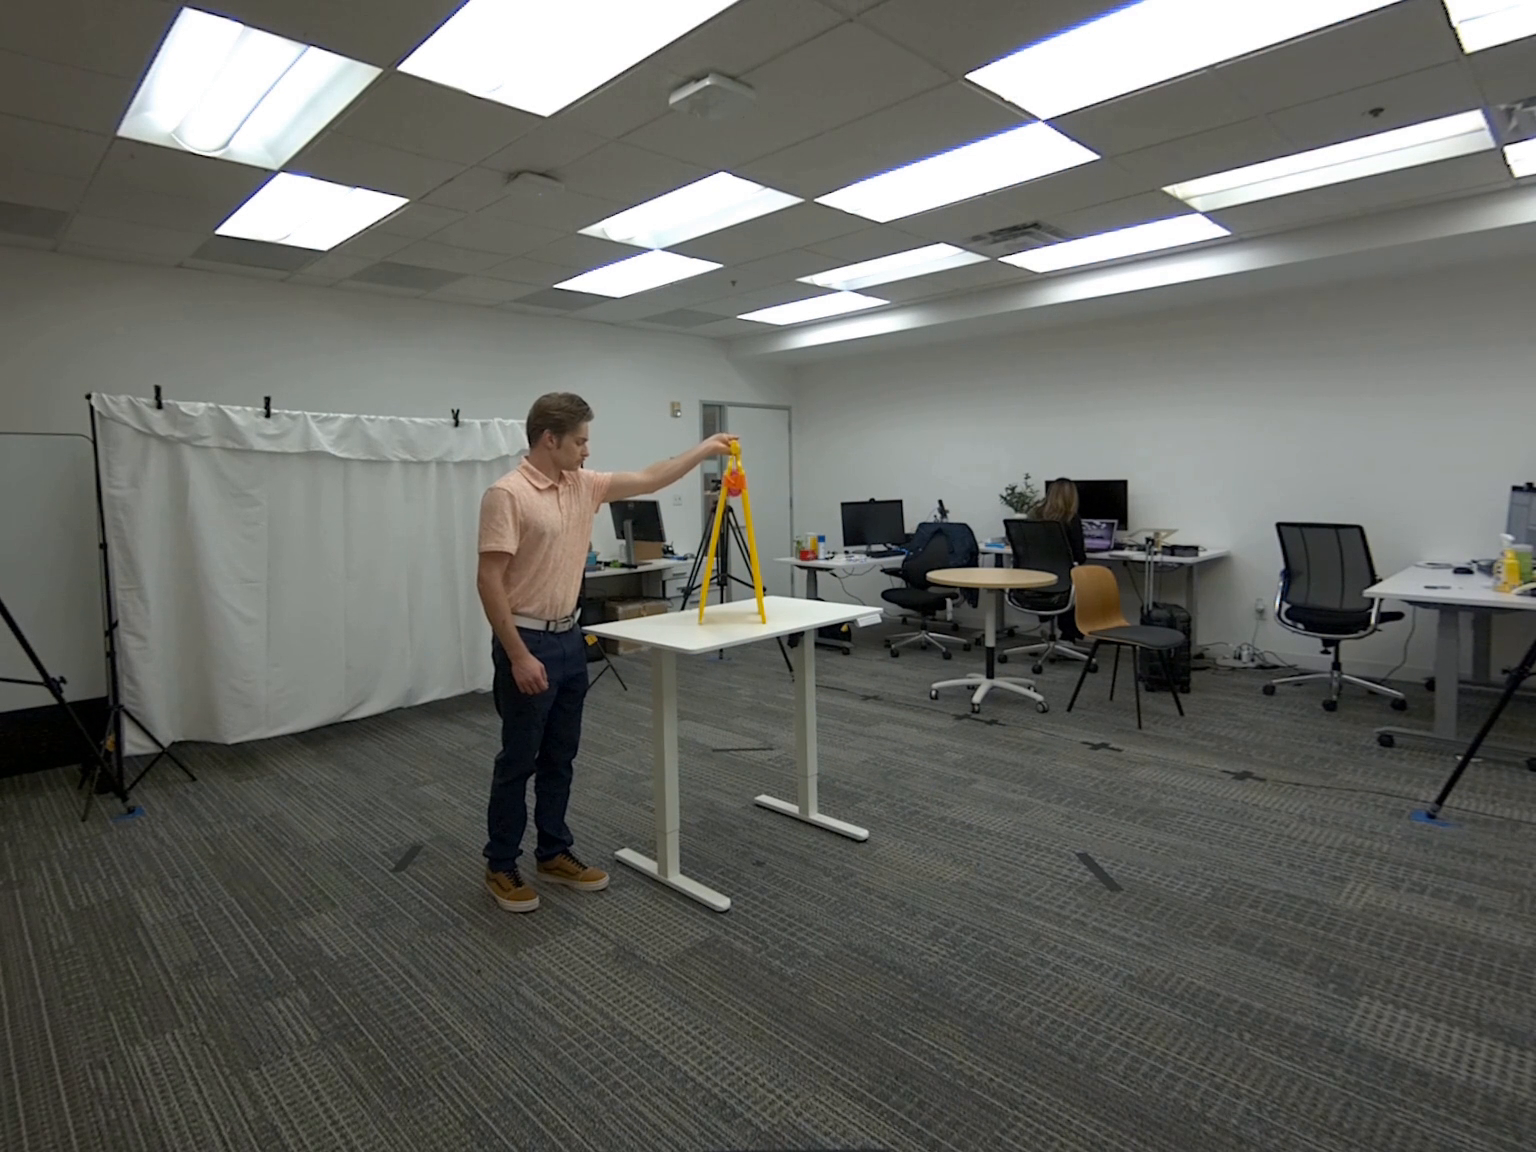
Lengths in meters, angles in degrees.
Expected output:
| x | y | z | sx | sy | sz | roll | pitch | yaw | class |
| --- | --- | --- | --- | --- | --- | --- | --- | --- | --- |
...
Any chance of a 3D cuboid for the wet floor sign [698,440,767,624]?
| x | y | z | sx | sy | sz | roll | pitch | yaw | class |
| --- | --- | --- | --- | --- | --- | --- | --- | --- | --- |
| -0.128 | -0.161 | 3.155 | 0.291 | 0.645 | 0.281 | 2 | 2 | 4 | wet floor sign |
